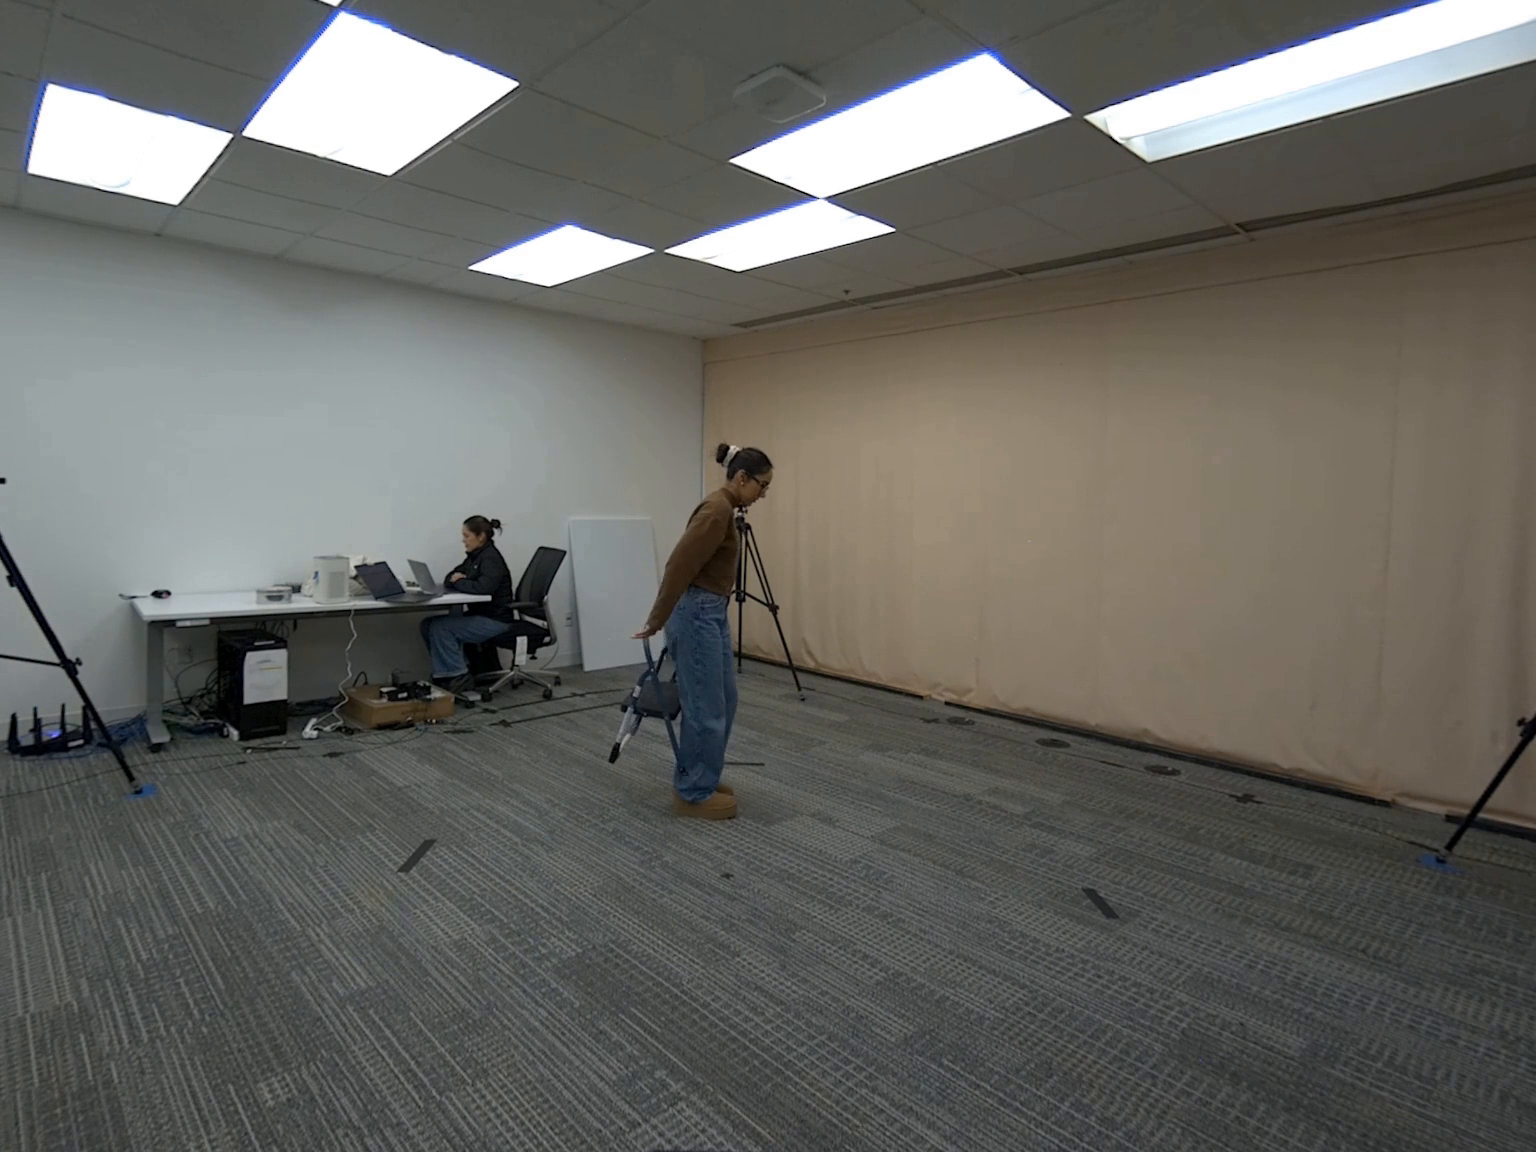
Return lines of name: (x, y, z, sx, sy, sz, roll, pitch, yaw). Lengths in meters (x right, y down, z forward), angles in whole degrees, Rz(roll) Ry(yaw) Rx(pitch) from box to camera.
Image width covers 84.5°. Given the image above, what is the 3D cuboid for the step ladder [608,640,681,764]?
step ladder: (-0.477, 0.497, 3.739, 0.351, 0.603, 0.431, 7, 8, 4)
